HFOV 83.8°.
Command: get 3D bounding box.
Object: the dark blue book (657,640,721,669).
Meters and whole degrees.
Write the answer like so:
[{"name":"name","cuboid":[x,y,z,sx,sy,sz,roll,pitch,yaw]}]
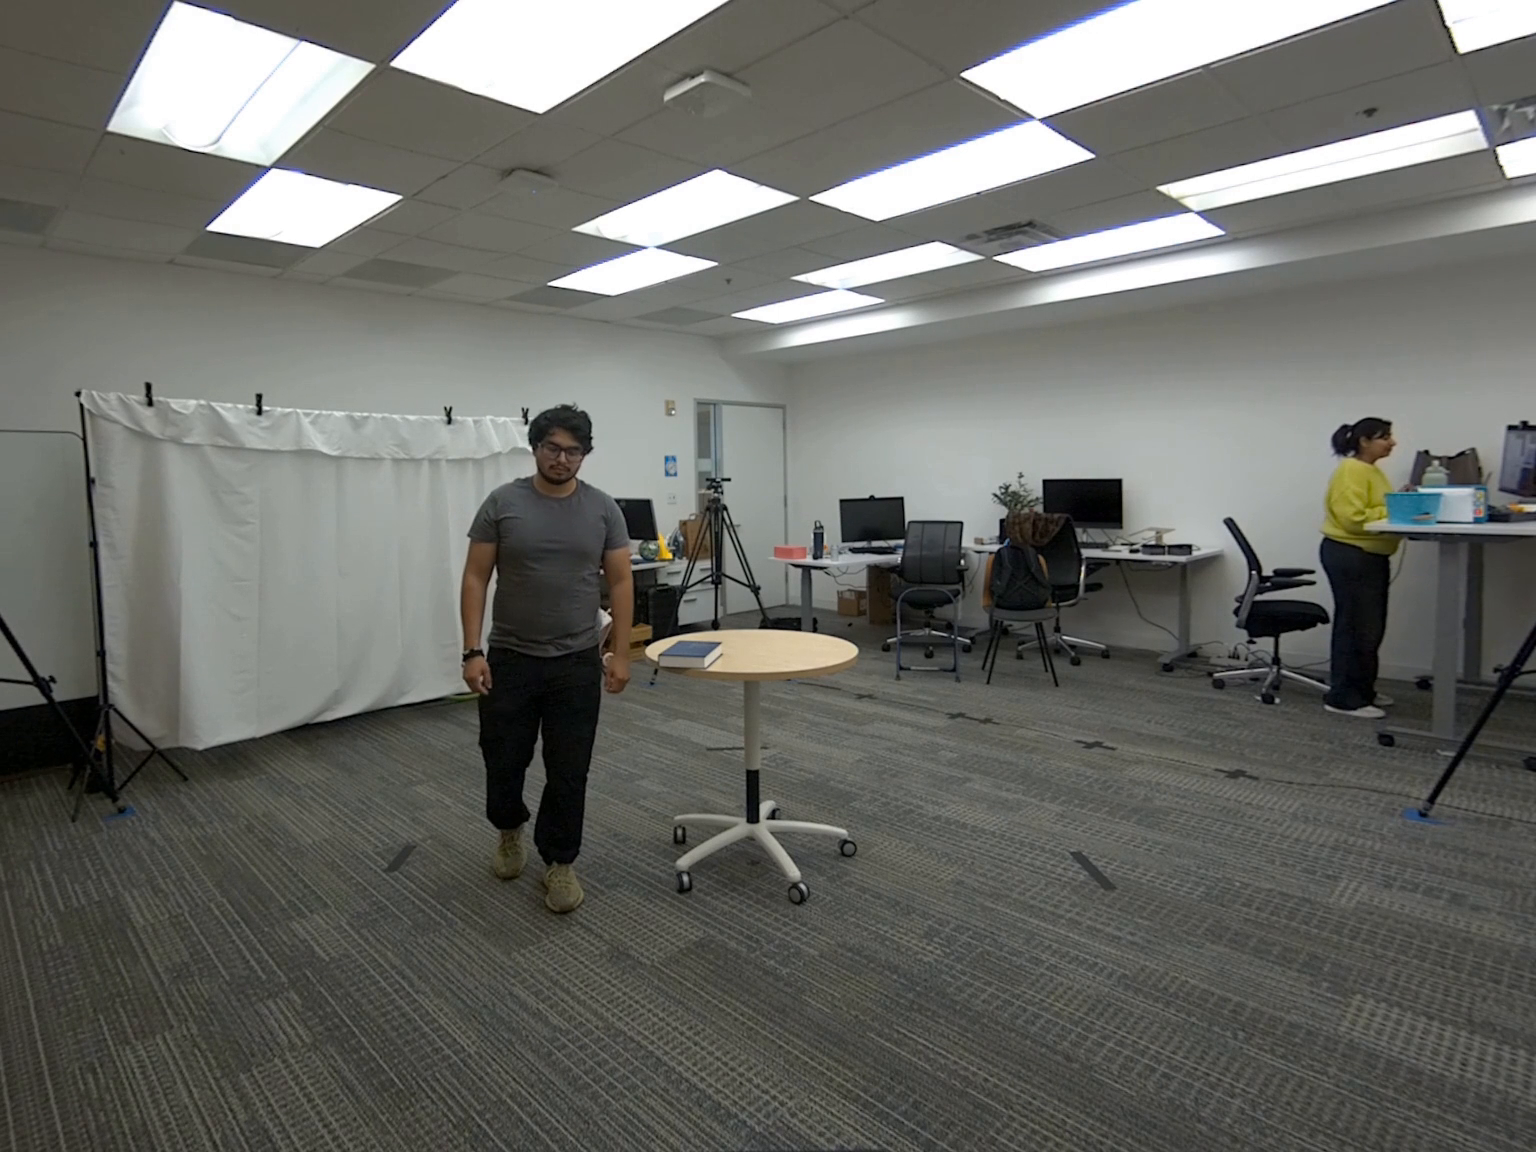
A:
[{"name":"dark blue book","cuboid":[-0.264,0.265,2.900,0.165,0.045,0.243,1,7,11]}]
